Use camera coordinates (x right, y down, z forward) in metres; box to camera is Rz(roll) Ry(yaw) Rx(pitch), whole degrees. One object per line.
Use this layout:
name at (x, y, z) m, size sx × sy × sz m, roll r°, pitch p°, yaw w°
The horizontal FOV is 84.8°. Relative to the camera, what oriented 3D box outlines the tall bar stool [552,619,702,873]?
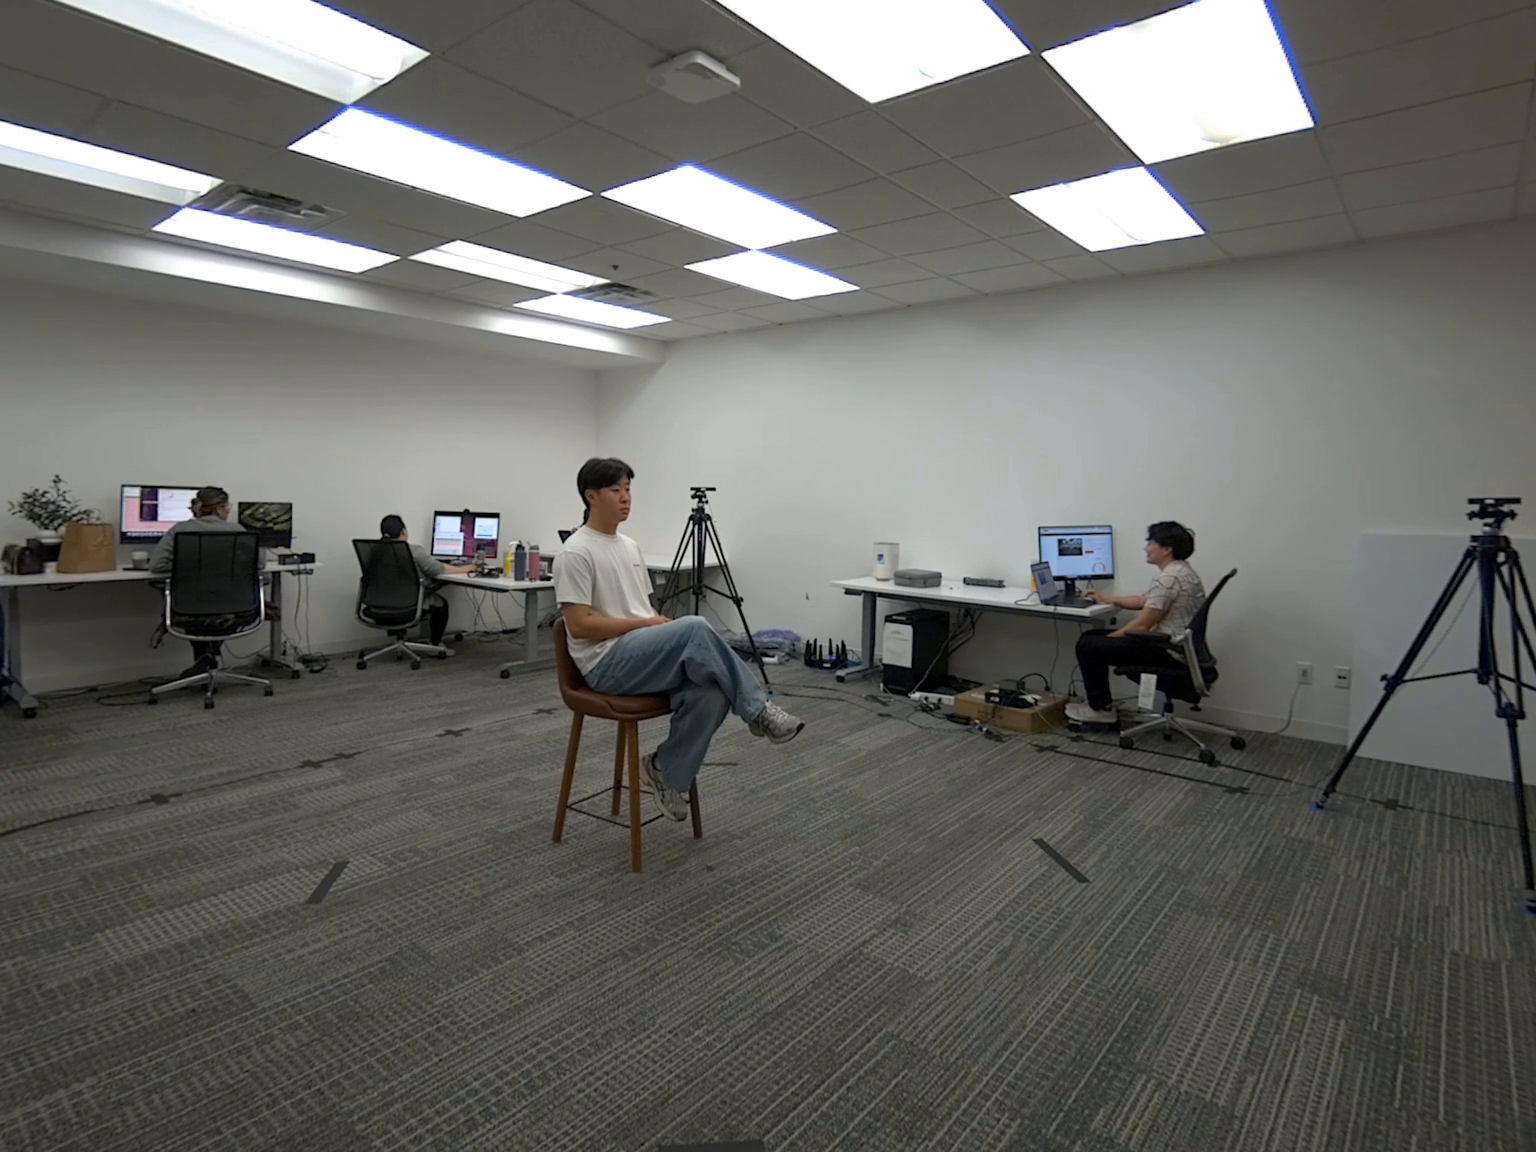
tall bar stool at (-0.571, 0.604, 3.342) m, size 0.481 × 0.889 × 0.443 m, roll 0°, pitch 1°, yaw 33°
